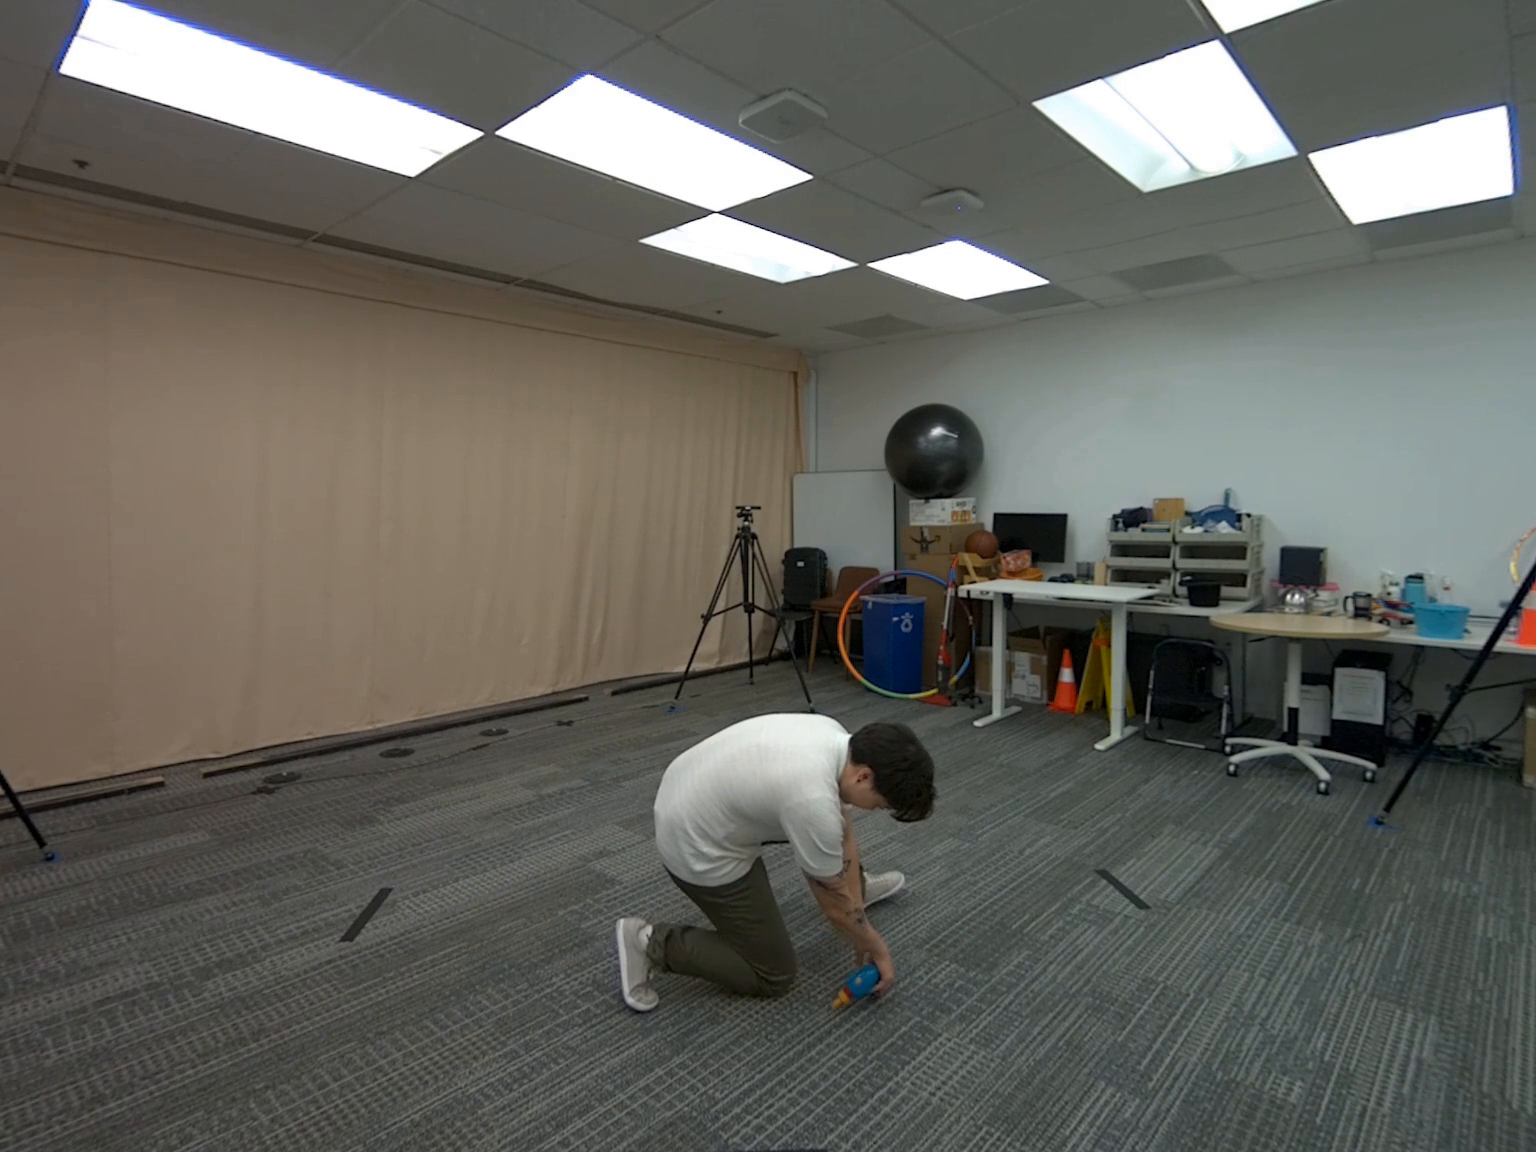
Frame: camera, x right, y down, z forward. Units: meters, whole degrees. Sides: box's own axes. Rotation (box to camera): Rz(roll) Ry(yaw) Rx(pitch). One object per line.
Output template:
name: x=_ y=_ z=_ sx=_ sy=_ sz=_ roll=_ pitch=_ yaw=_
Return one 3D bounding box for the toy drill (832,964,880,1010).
toy drill: x=0.251 y=1.153 z=2.366 sx=0.063 sy=0.170 sz=0.141 roll=48 pitch=-3 yaw=41
